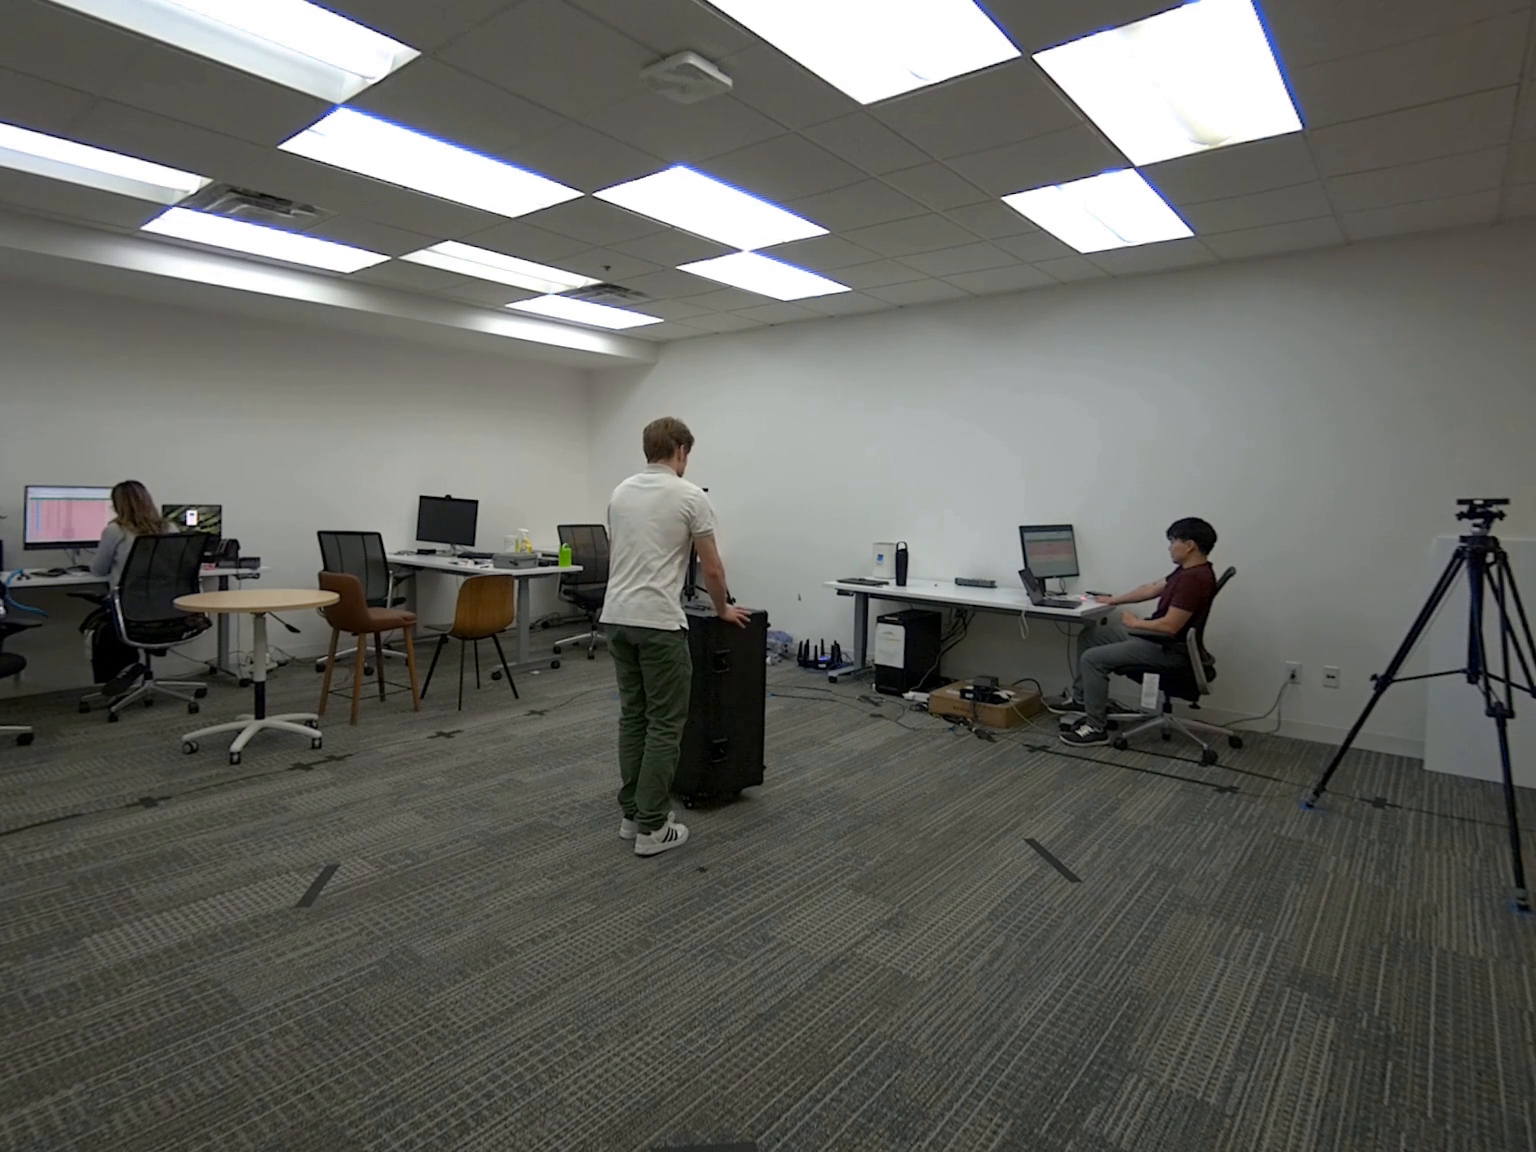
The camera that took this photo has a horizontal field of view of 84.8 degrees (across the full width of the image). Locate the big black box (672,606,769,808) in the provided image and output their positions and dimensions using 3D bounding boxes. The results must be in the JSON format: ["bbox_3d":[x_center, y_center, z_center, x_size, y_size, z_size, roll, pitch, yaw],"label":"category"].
[{"bbox_3d":[-0.314,0.568,3.895,0.373,0.866,0.541,-1,4,-41],"label":"big black box"}]
